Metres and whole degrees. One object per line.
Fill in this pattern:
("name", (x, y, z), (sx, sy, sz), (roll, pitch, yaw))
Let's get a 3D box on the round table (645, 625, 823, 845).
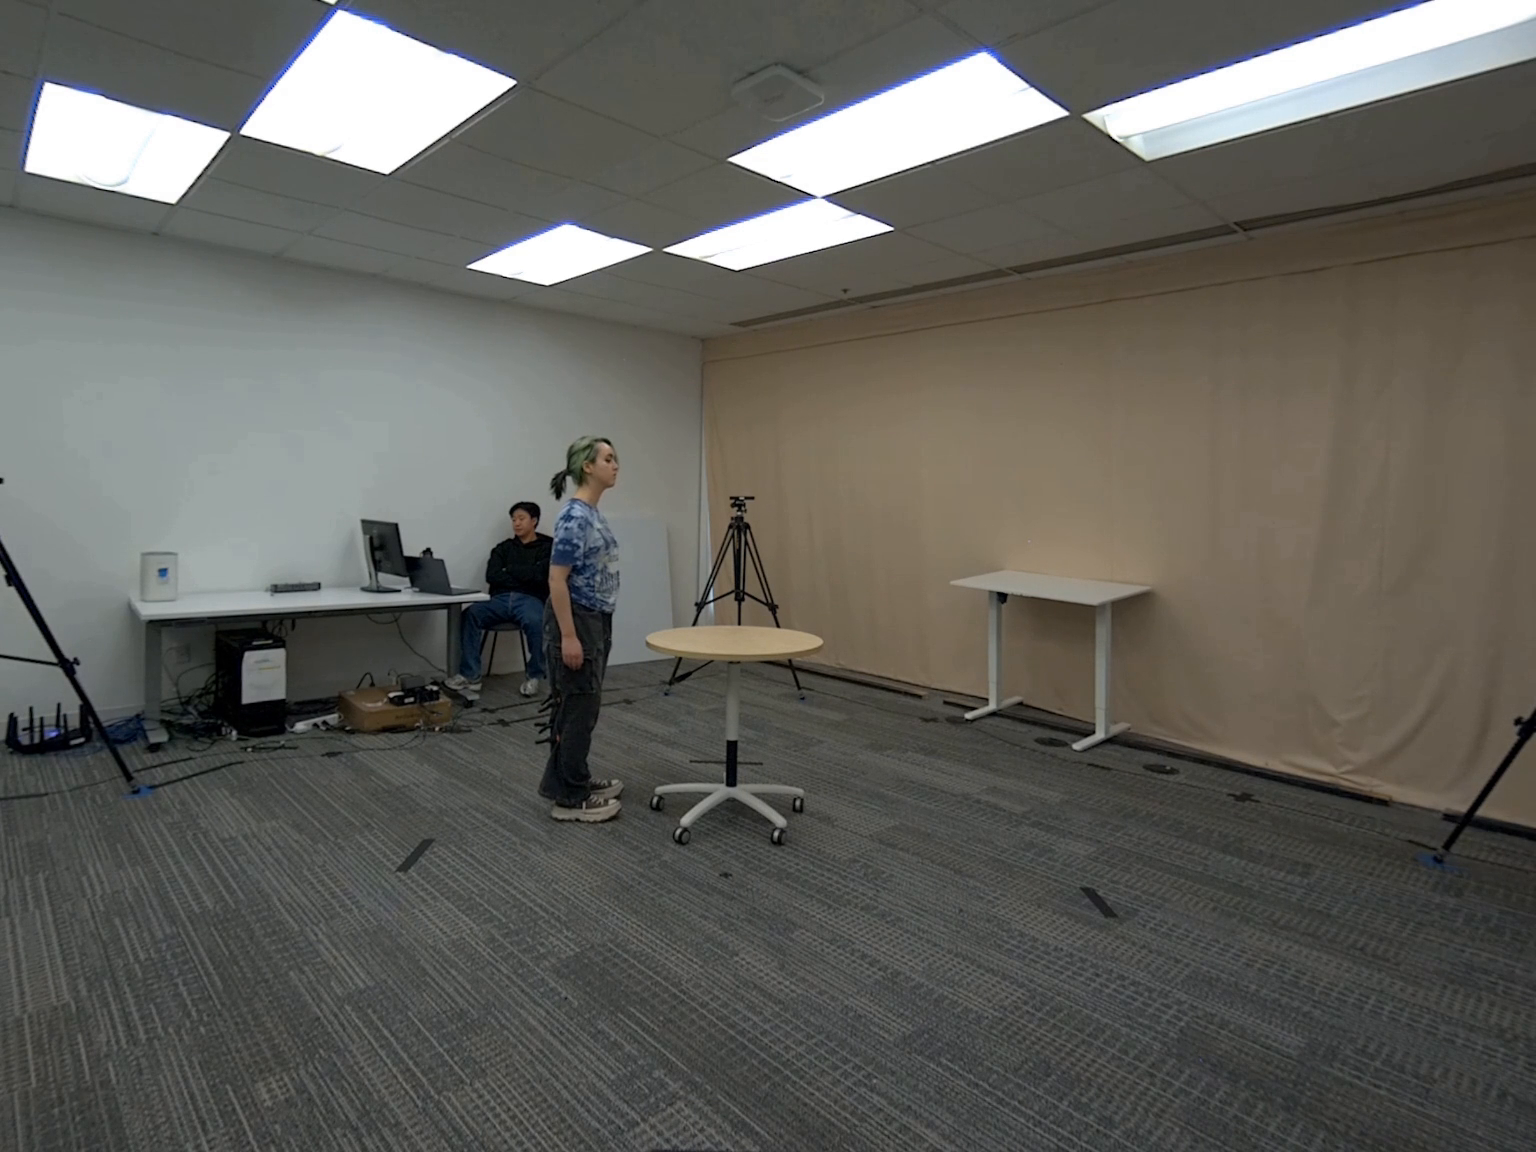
("round table", (-0.165, 0.667, 3.657), (0.763, 0.792, 0.766), (1, 4, -1))
